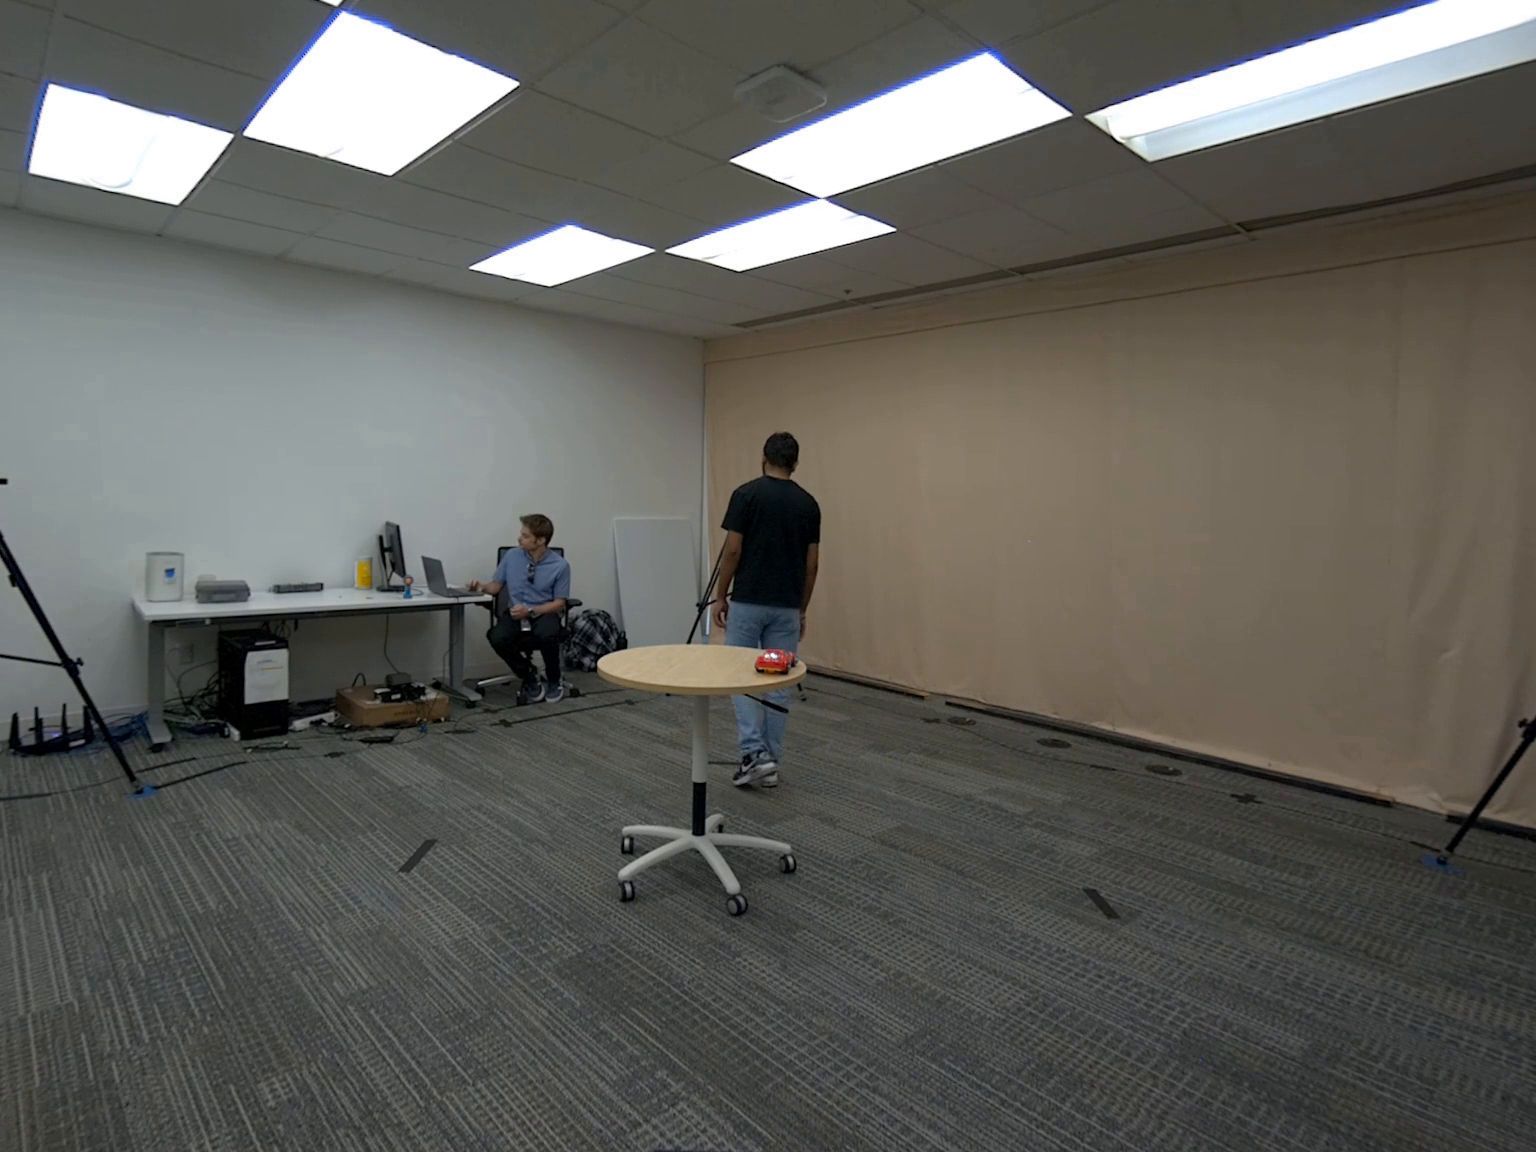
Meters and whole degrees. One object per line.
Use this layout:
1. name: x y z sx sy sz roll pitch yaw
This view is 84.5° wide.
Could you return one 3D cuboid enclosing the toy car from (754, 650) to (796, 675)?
1. toy car: 0.014 0.304 3.002 0.132 0.083 0.251 4 -6 12
